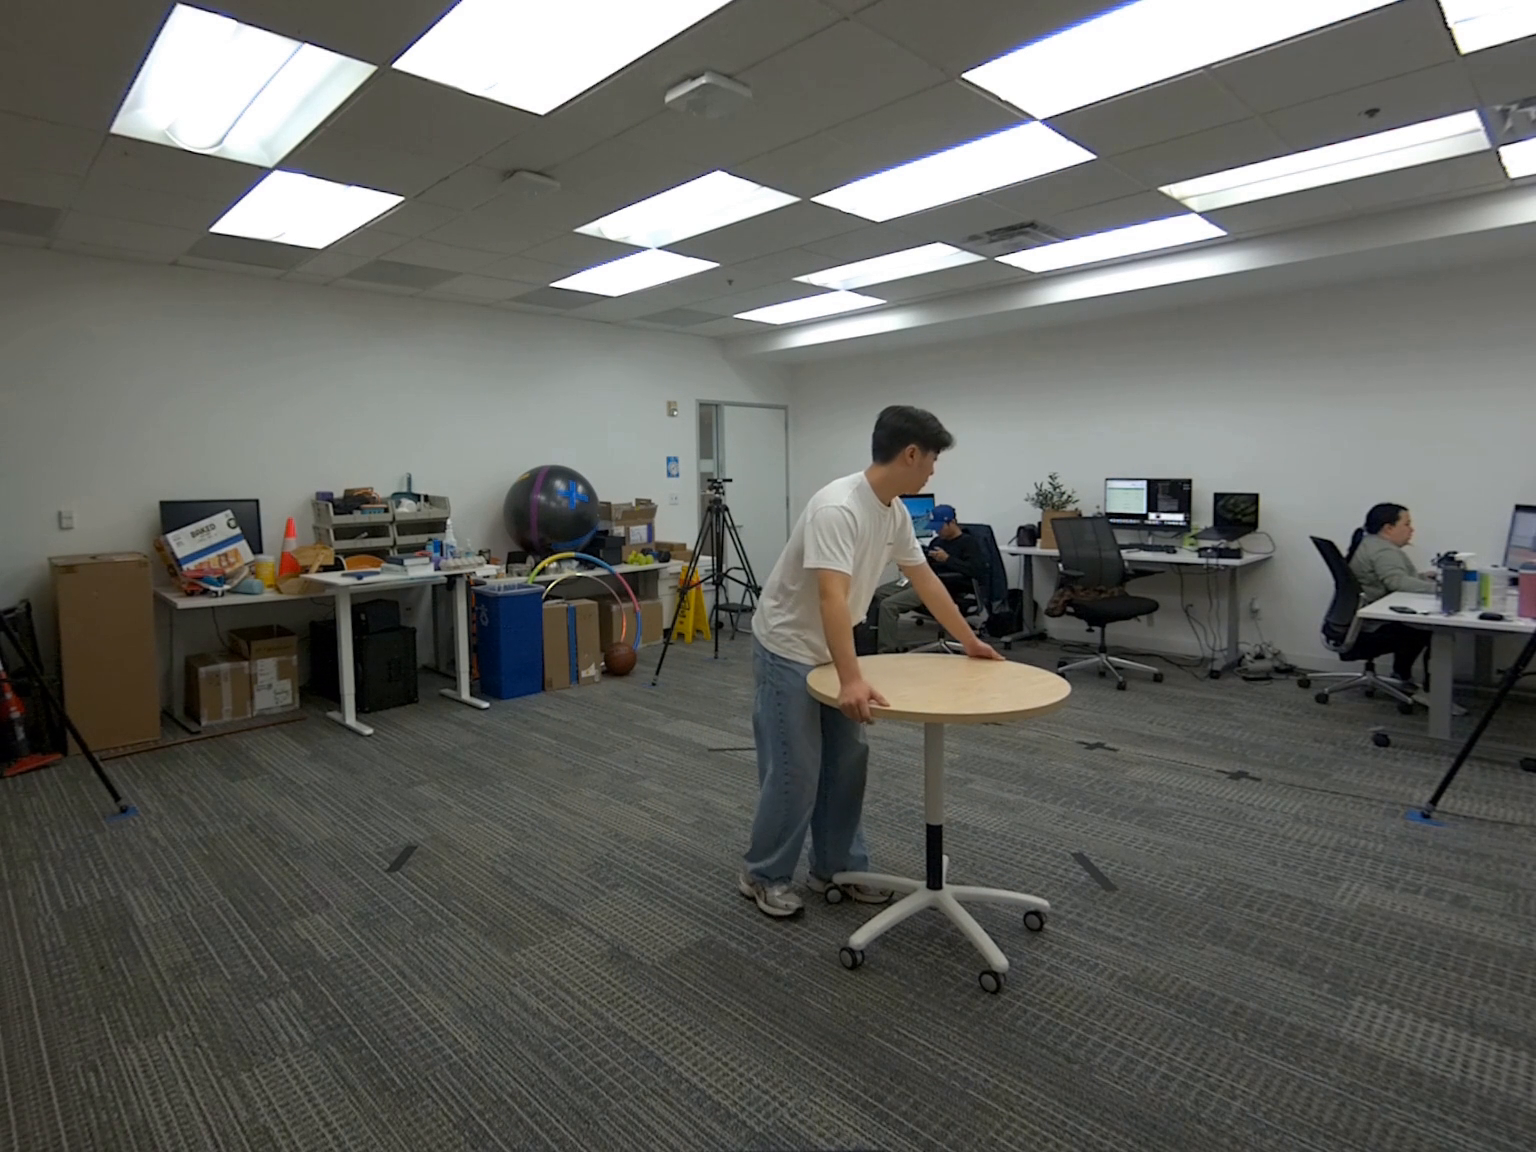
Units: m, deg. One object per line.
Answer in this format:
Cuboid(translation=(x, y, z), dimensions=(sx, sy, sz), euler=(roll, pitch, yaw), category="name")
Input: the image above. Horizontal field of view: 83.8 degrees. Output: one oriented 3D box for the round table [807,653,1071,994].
Cuboid(translation=(0.516, 0.707, 2.598), dimensions=(0.763, 0.791, 0.768), euler=(-1, 5, -2), category="round table")
